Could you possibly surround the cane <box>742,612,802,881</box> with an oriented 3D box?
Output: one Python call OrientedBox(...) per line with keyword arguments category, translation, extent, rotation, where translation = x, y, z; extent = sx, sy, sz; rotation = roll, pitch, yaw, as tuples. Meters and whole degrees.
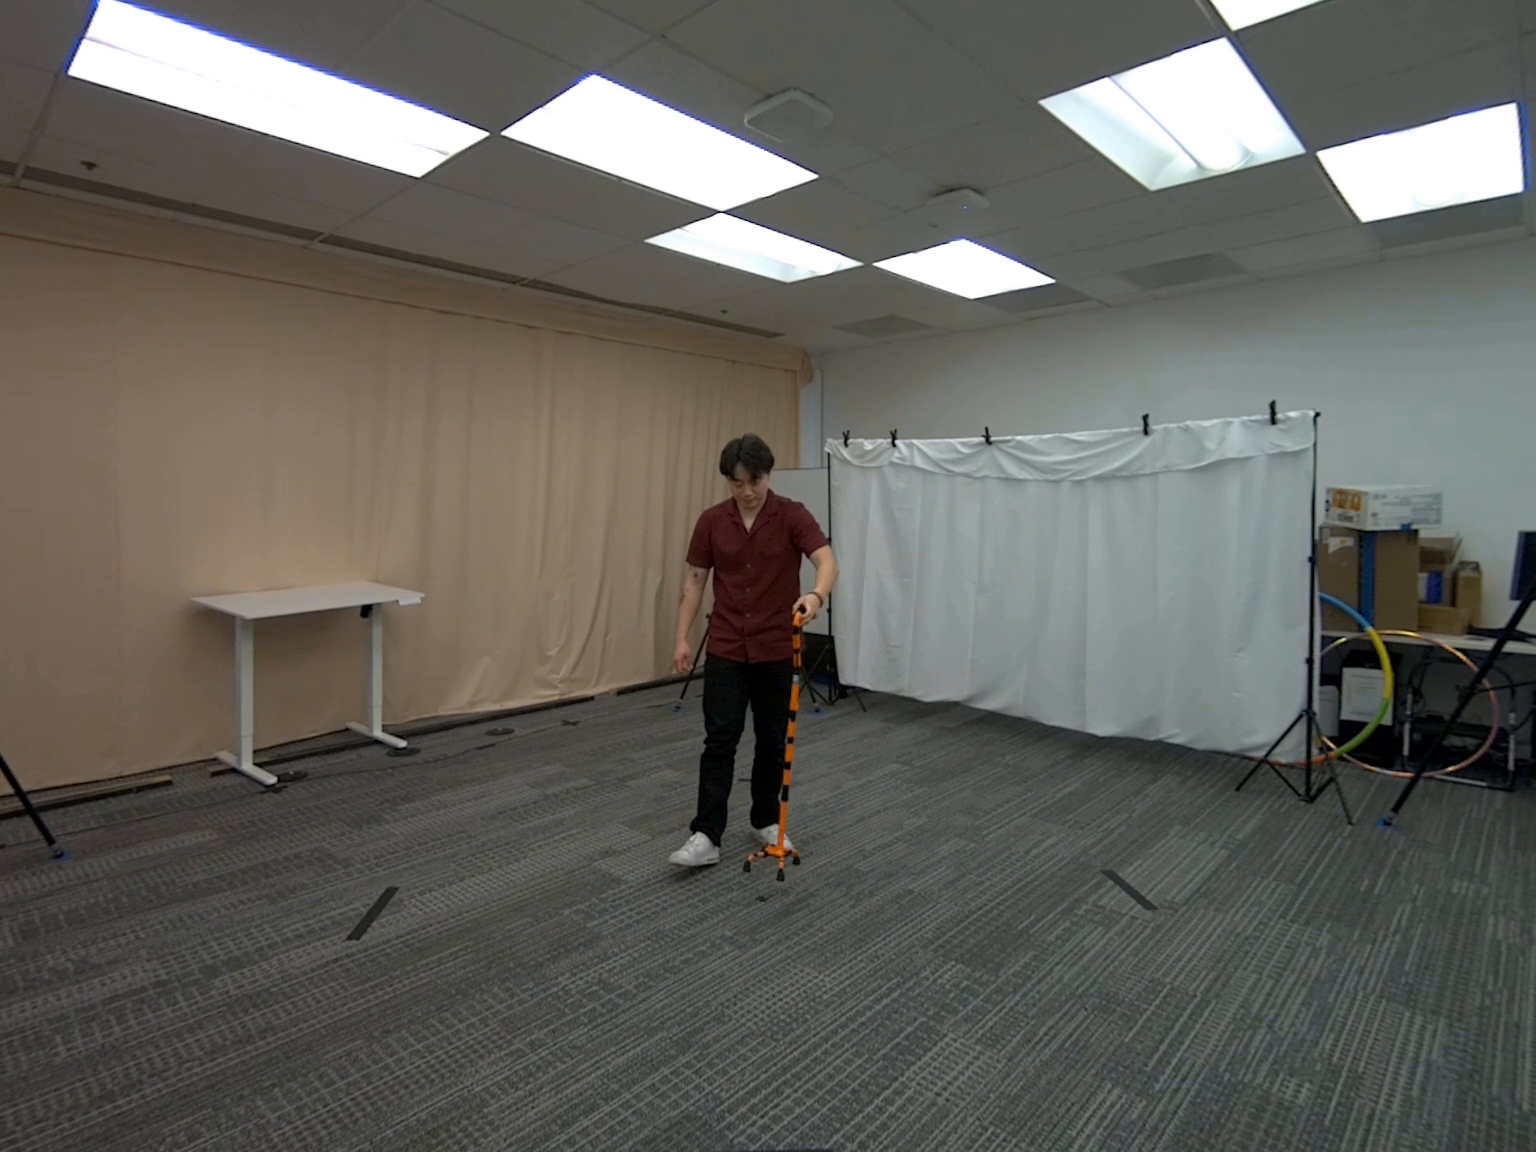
OrientedBox(category="cane", translation=(0.062, 0.560, 2.926), extent=(0.155, 0.908, 0.201), rotation=(5, 0, 25))
